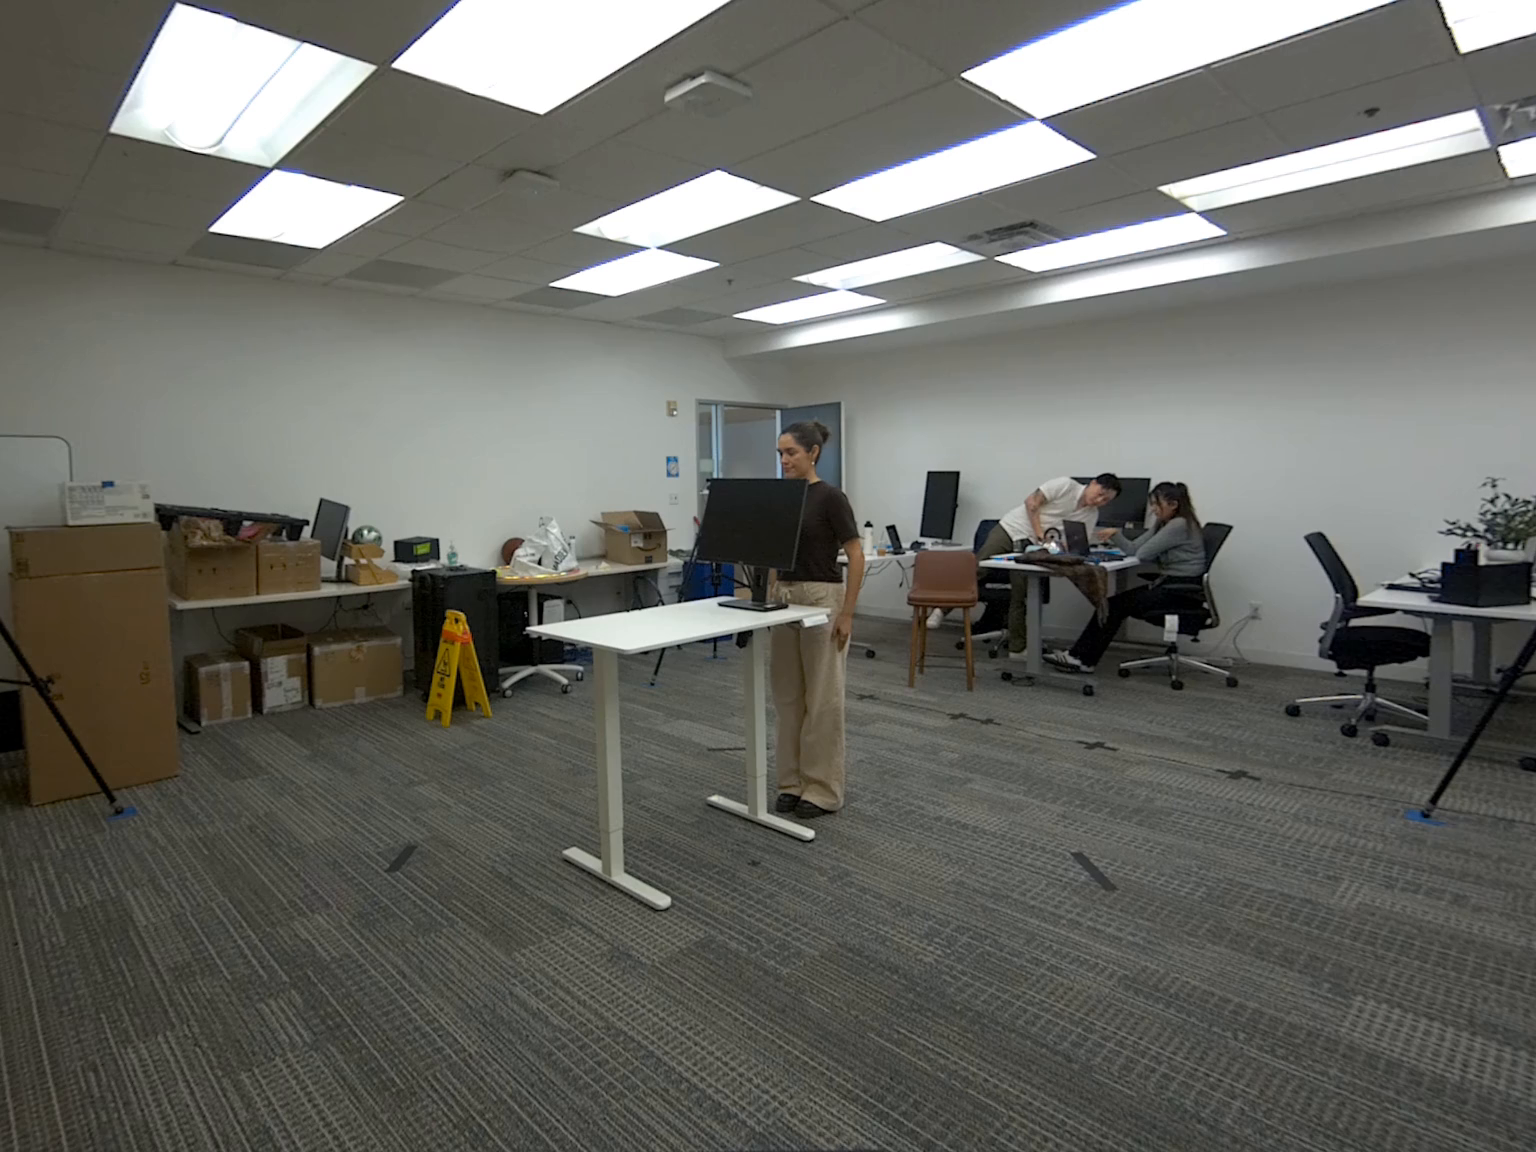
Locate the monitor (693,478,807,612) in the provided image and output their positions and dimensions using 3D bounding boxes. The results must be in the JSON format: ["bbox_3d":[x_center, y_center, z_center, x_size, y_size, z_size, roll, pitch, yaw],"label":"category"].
[{"bbox_3d":[-0.057,-0.134,3.419,0.547,0.512,0.170,6,10,44],"label":"monitor"}]
